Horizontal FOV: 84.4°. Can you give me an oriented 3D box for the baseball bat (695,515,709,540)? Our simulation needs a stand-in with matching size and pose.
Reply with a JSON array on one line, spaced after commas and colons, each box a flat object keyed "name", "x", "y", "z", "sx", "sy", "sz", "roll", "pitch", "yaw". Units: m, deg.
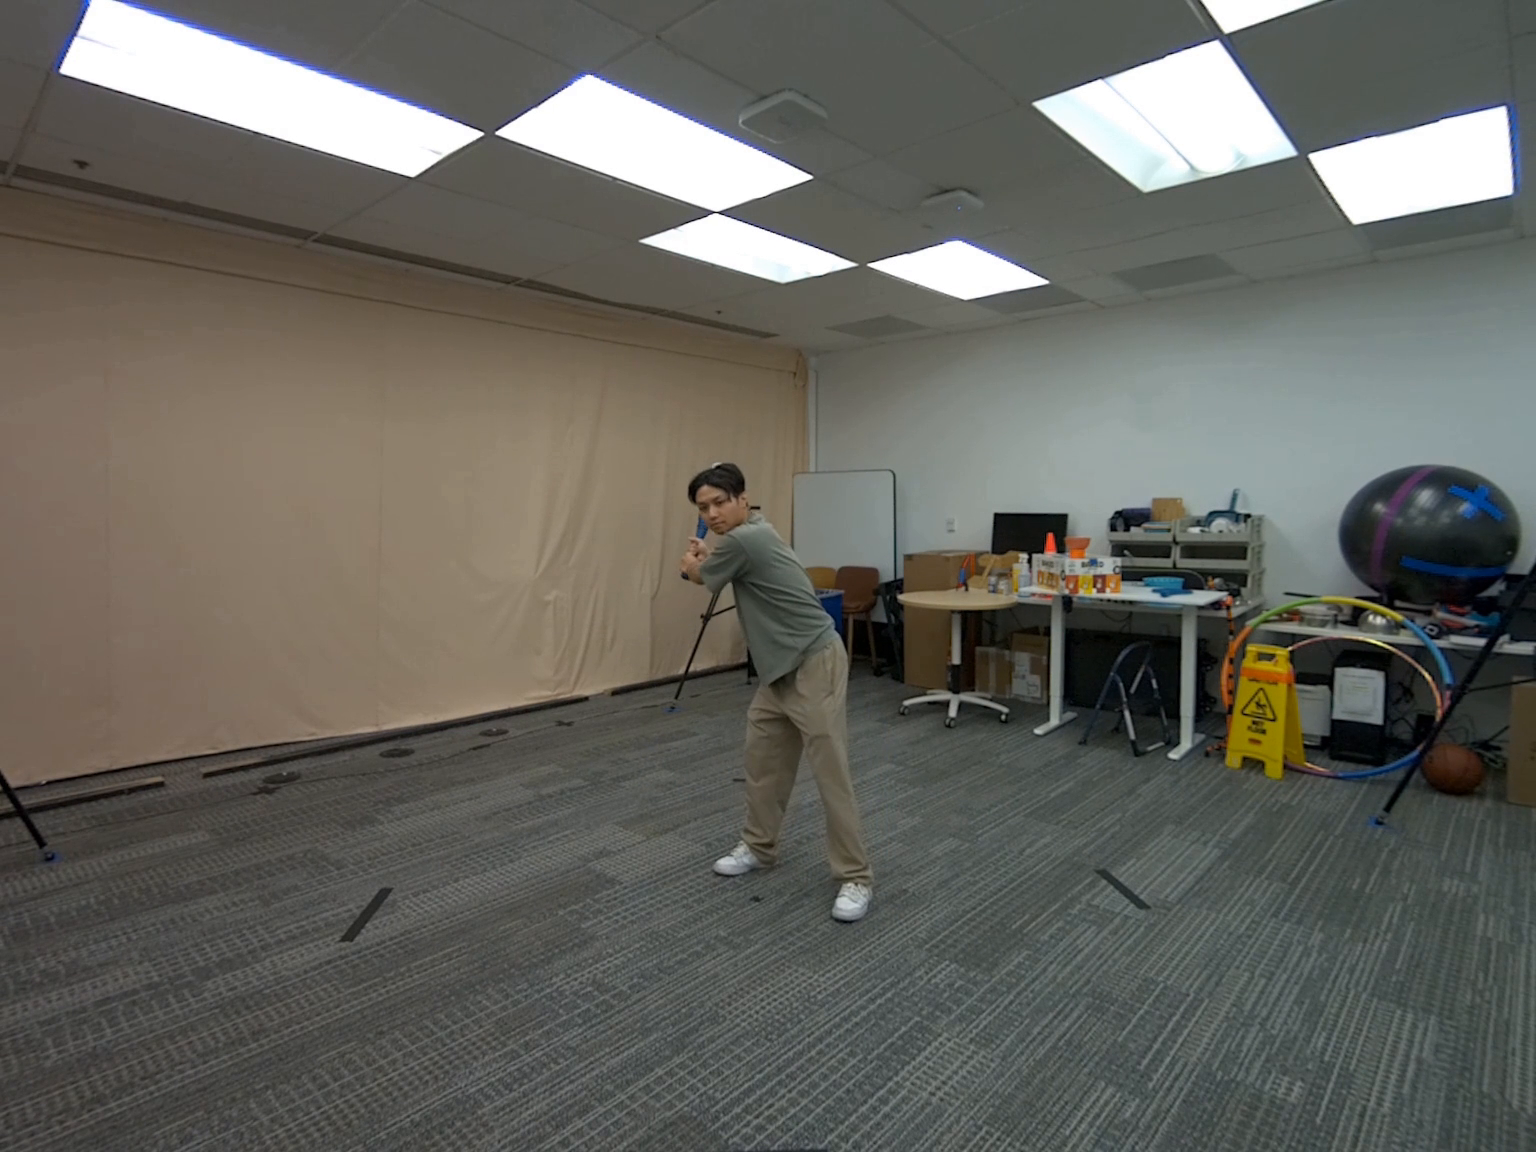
[{"name": "baseball bat", "x": -0.256, "y": -0.222, "z": 3.540, "sx": 0.089, "sy": 0.547, "sz": 0.088, "roll": 12, "pitch": -20, "yaw": 3}]
